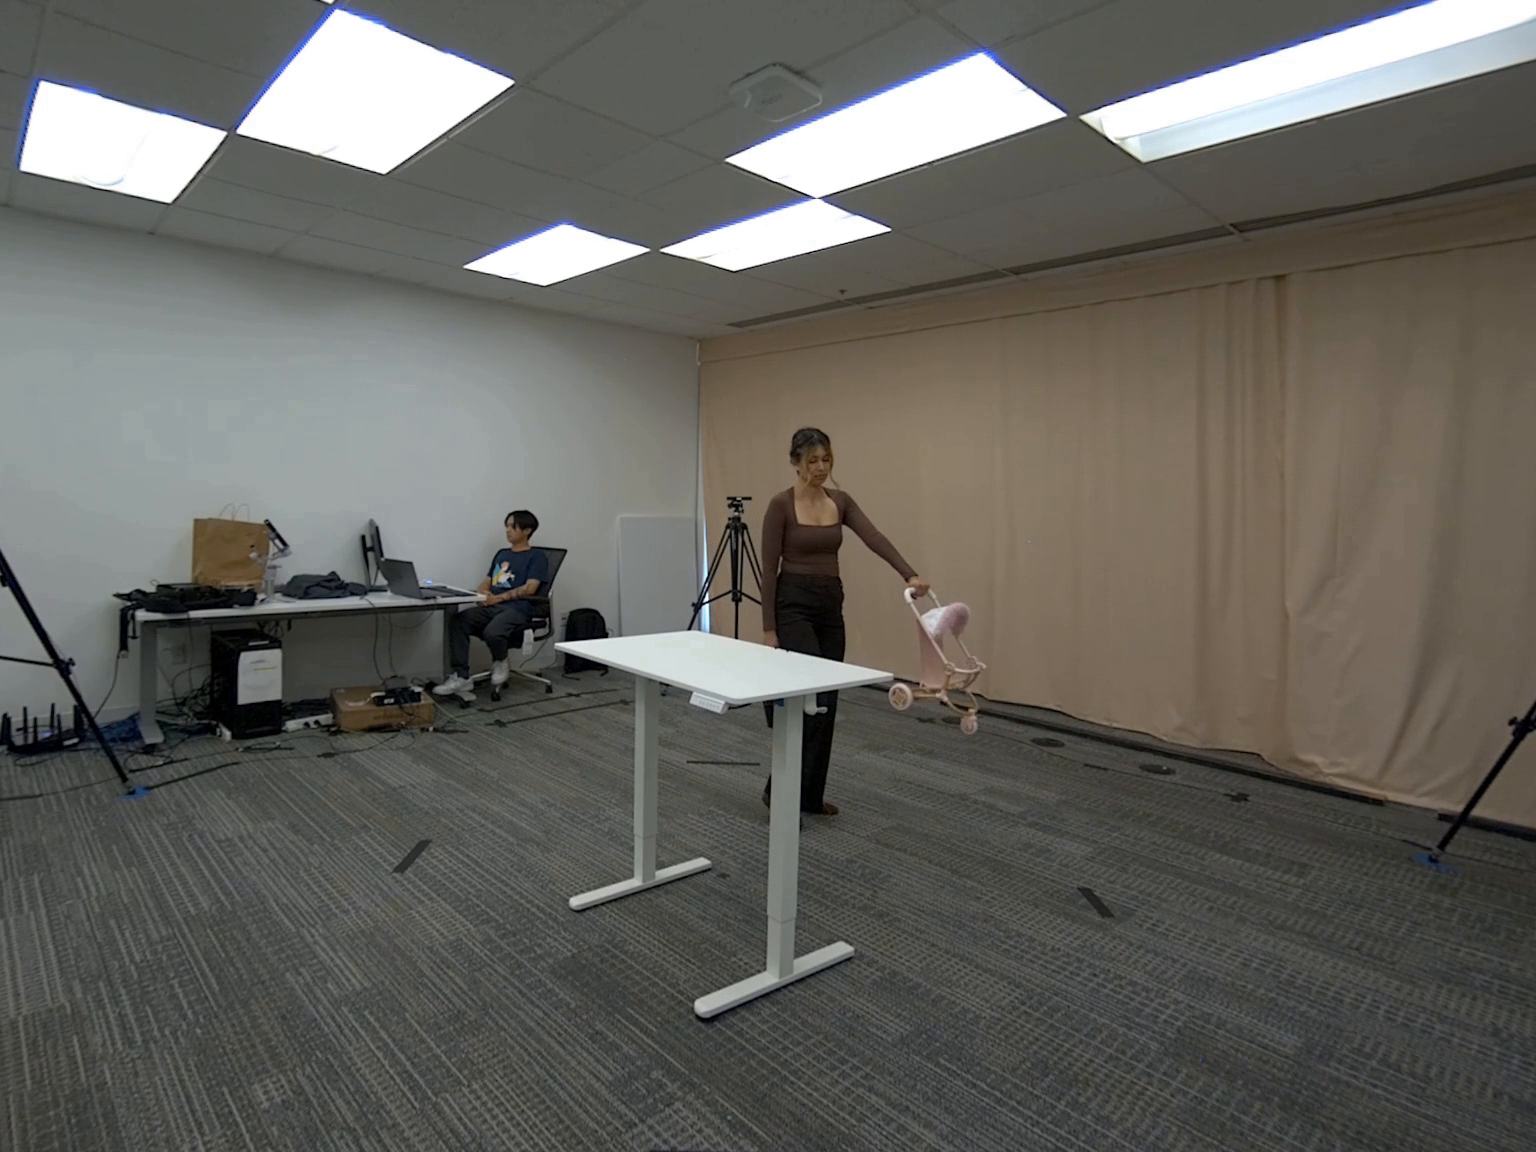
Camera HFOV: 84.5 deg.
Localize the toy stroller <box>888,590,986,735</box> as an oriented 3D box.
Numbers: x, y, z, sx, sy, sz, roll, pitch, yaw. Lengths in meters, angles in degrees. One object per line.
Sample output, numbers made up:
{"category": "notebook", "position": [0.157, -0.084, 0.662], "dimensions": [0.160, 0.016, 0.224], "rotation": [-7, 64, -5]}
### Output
{"category": "toy stroller", "position": [0.691, 0.339, 3.342], "dimensions": [0.275, 0.533, 0.350], "rotation": [0, 7, -45]}
